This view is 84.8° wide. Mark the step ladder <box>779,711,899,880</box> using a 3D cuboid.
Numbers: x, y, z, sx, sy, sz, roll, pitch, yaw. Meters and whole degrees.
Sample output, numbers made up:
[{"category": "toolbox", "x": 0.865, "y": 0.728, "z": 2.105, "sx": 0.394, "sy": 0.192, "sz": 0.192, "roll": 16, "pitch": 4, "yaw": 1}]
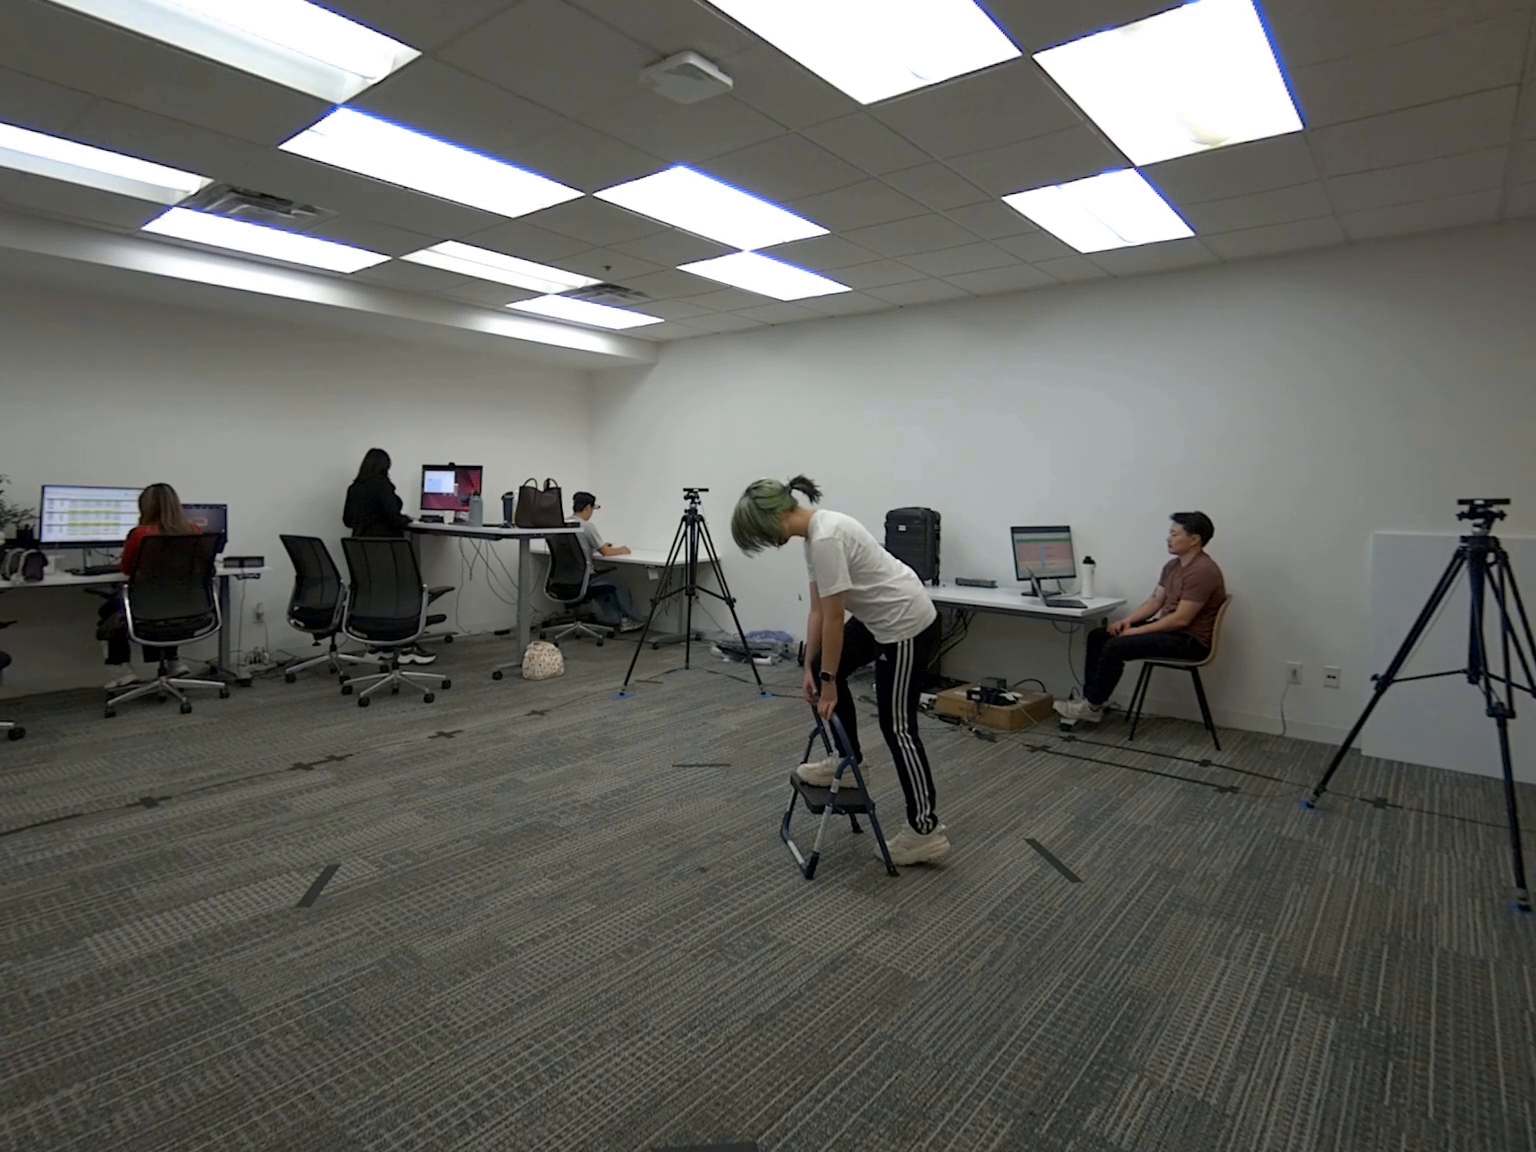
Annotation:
[{"category": "step ladder", "x": 0.259, "y": 0.768, "z": 3.253, "sx": 0.345, "sy": 0.604, "sz": 0.437, "roll": 1, "pitch": 5, "yaw": -11}]
